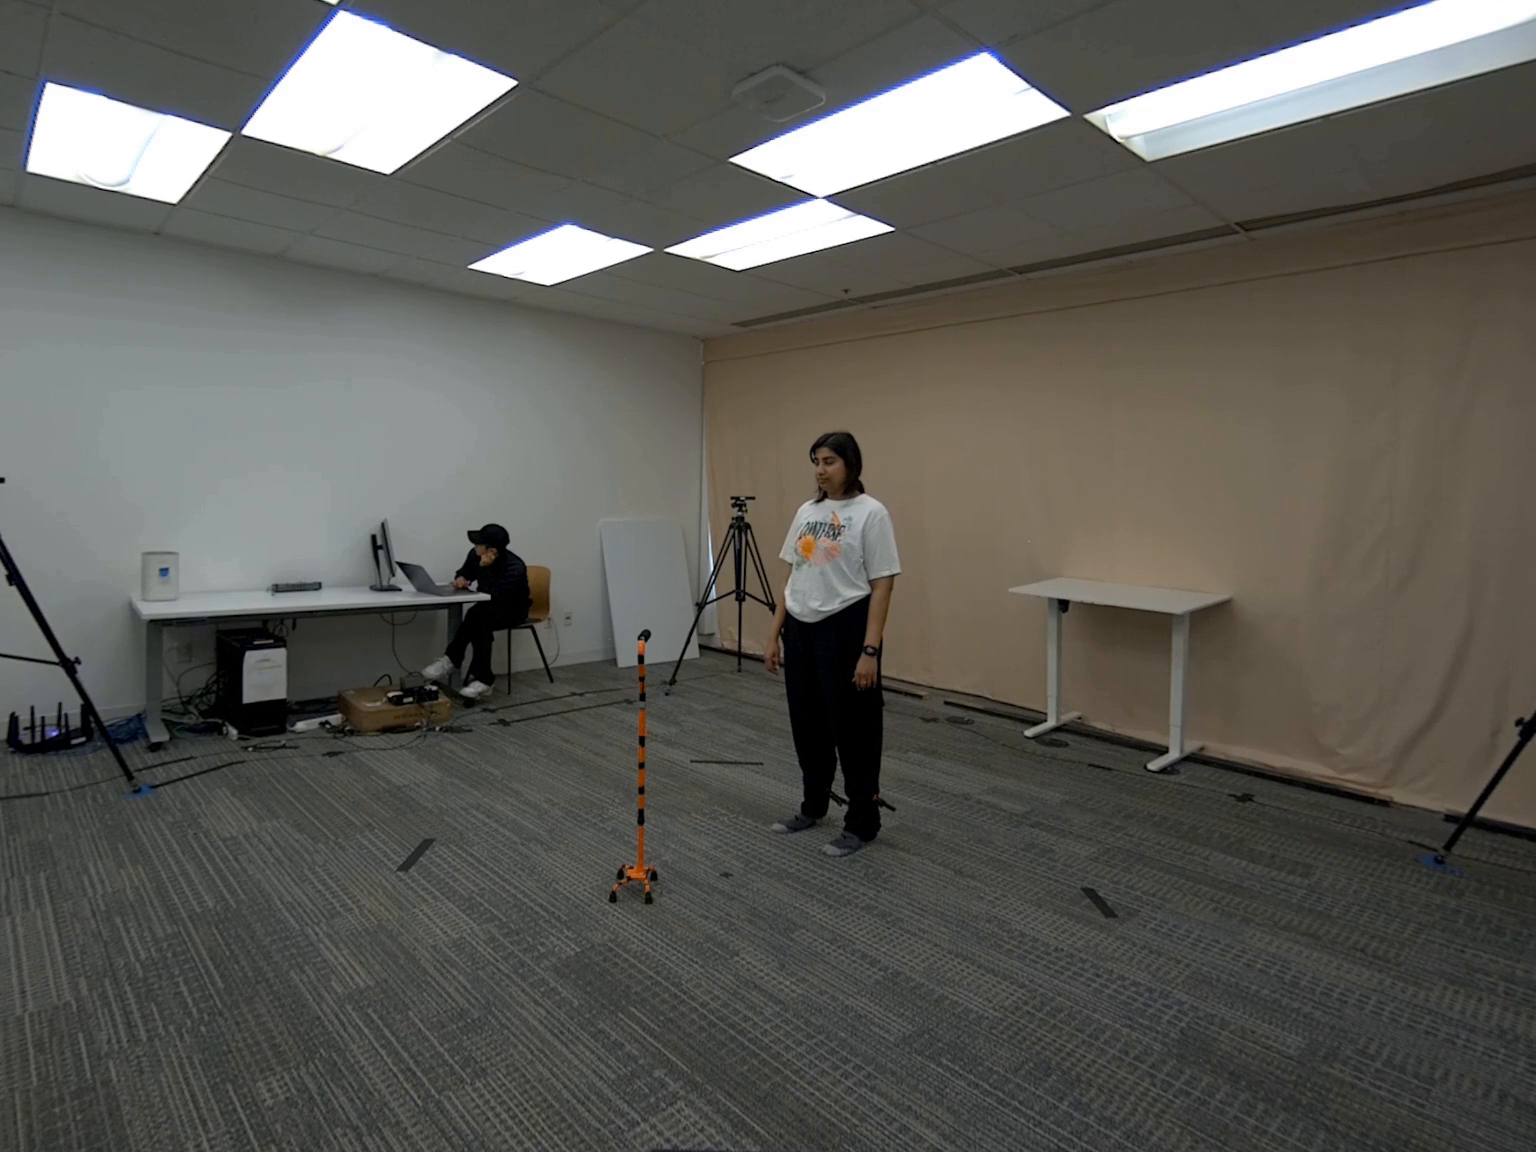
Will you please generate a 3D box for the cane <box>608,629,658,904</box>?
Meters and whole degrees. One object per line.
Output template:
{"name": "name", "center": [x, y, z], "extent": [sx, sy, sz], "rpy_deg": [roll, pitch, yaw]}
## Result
{"name": "cane", "center": [-0.462, 0.660, 2.947], "extent": [0.151, 0.906, 0.207], "rpy_deg": [2, 3, -1]}
